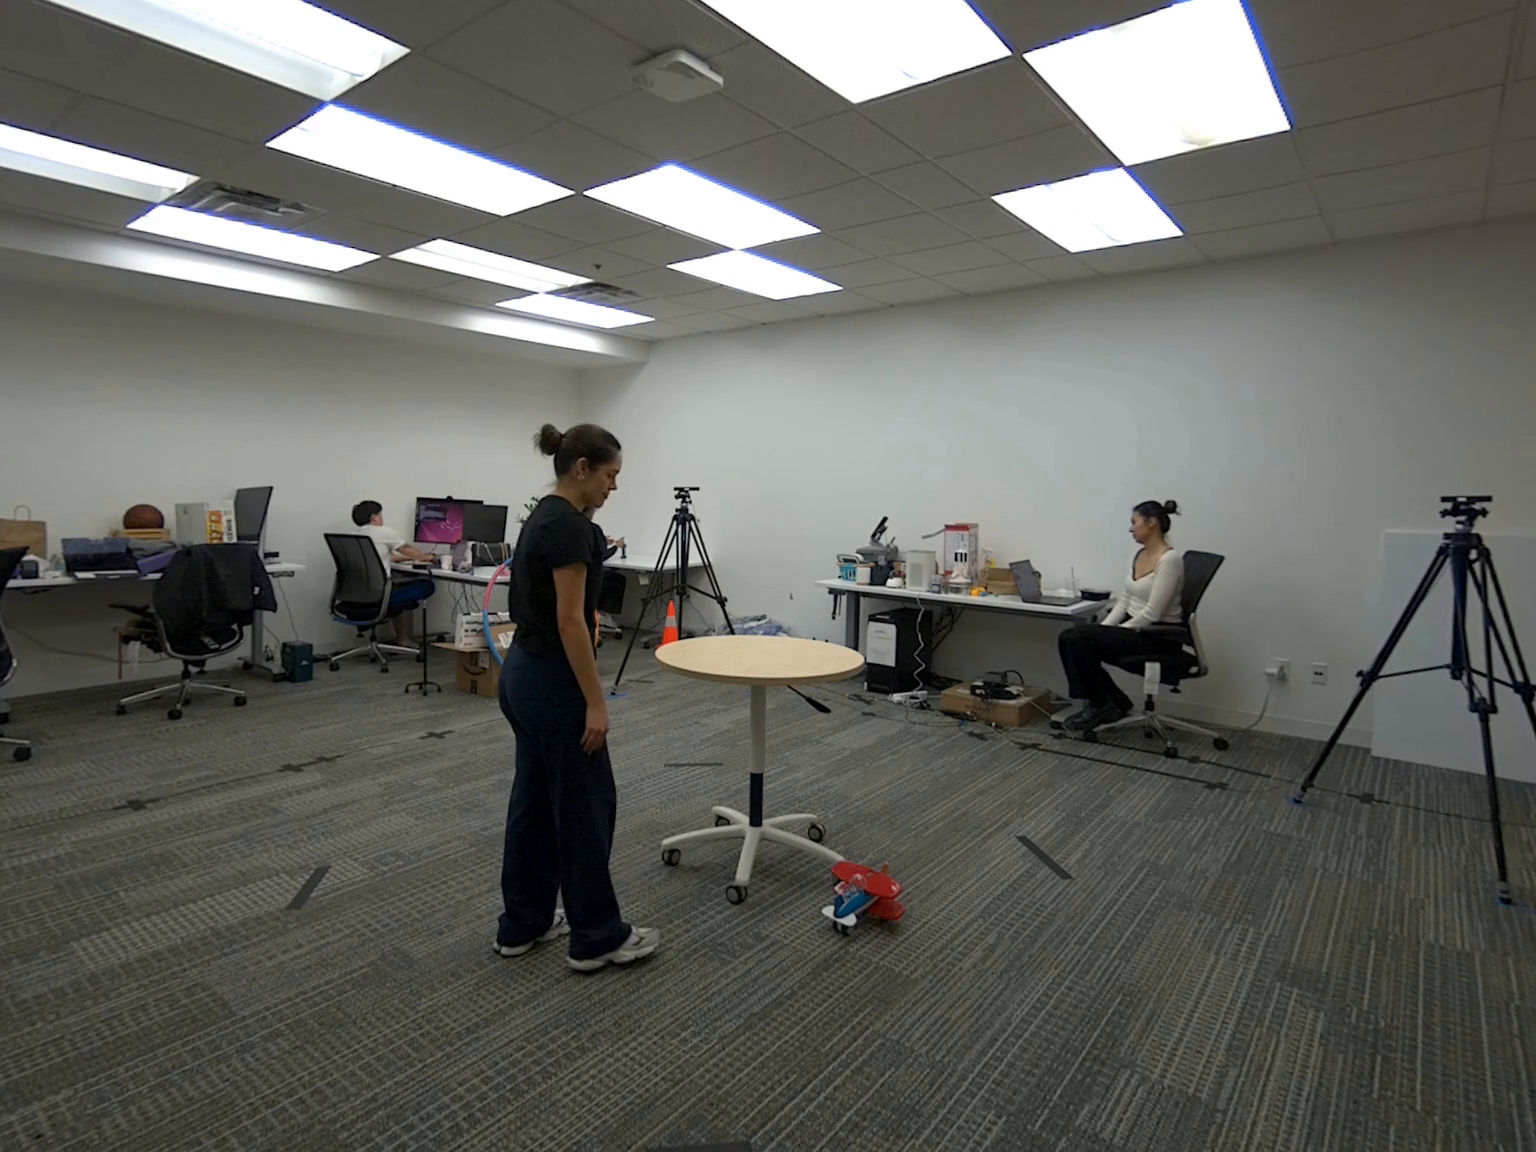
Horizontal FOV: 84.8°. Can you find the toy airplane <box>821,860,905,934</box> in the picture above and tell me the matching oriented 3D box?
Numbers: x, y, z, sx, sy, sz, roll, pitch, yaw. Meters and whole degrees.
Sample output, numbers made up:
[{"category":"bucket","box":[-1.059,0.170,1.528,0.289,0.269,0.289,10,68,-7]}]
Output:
[{"category":"toy airplane","box":[0.324,1.039,2.734,0.256,0.156,0.255,3,3,16]}]
